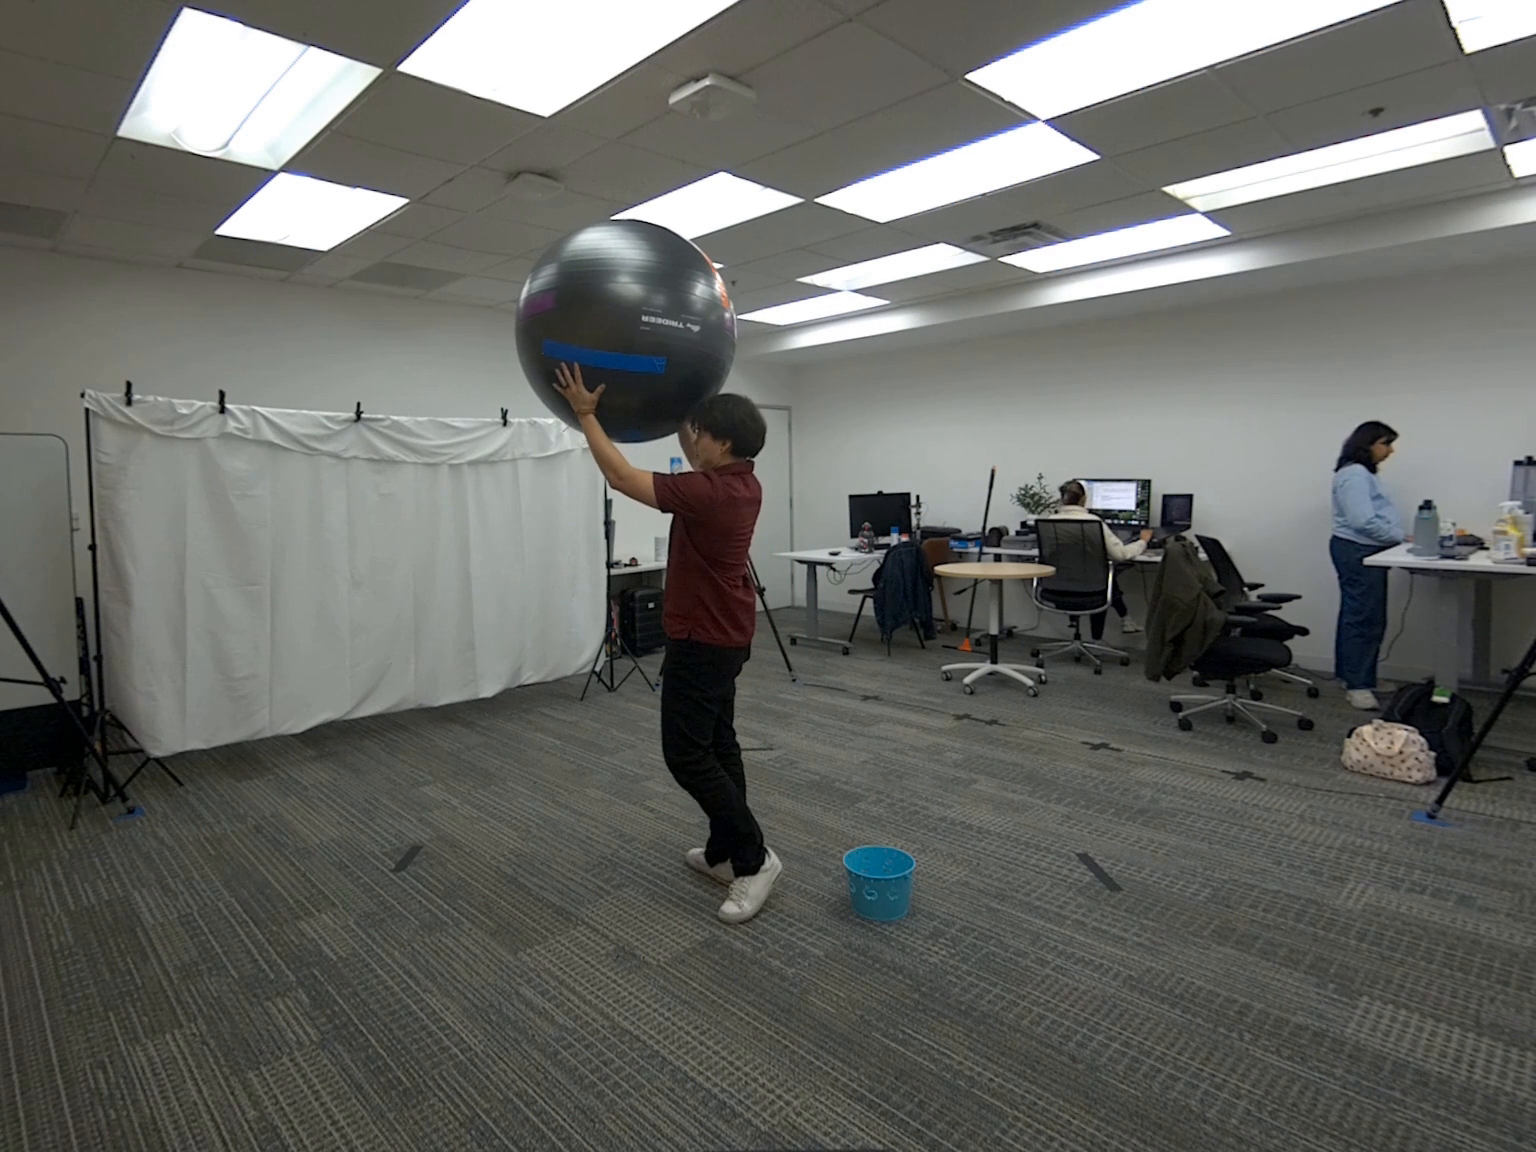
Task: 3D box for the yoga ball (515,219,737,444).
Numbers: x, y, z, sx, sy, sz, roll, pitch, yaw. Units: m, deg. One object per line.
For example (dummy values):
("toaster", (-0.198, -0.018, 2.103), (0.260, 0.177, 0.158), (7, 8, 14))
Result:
("yoga ball", (-0.495, -0.835, 2.969), (0.757, 0.755, 0.762), (-1, 5, -2))
